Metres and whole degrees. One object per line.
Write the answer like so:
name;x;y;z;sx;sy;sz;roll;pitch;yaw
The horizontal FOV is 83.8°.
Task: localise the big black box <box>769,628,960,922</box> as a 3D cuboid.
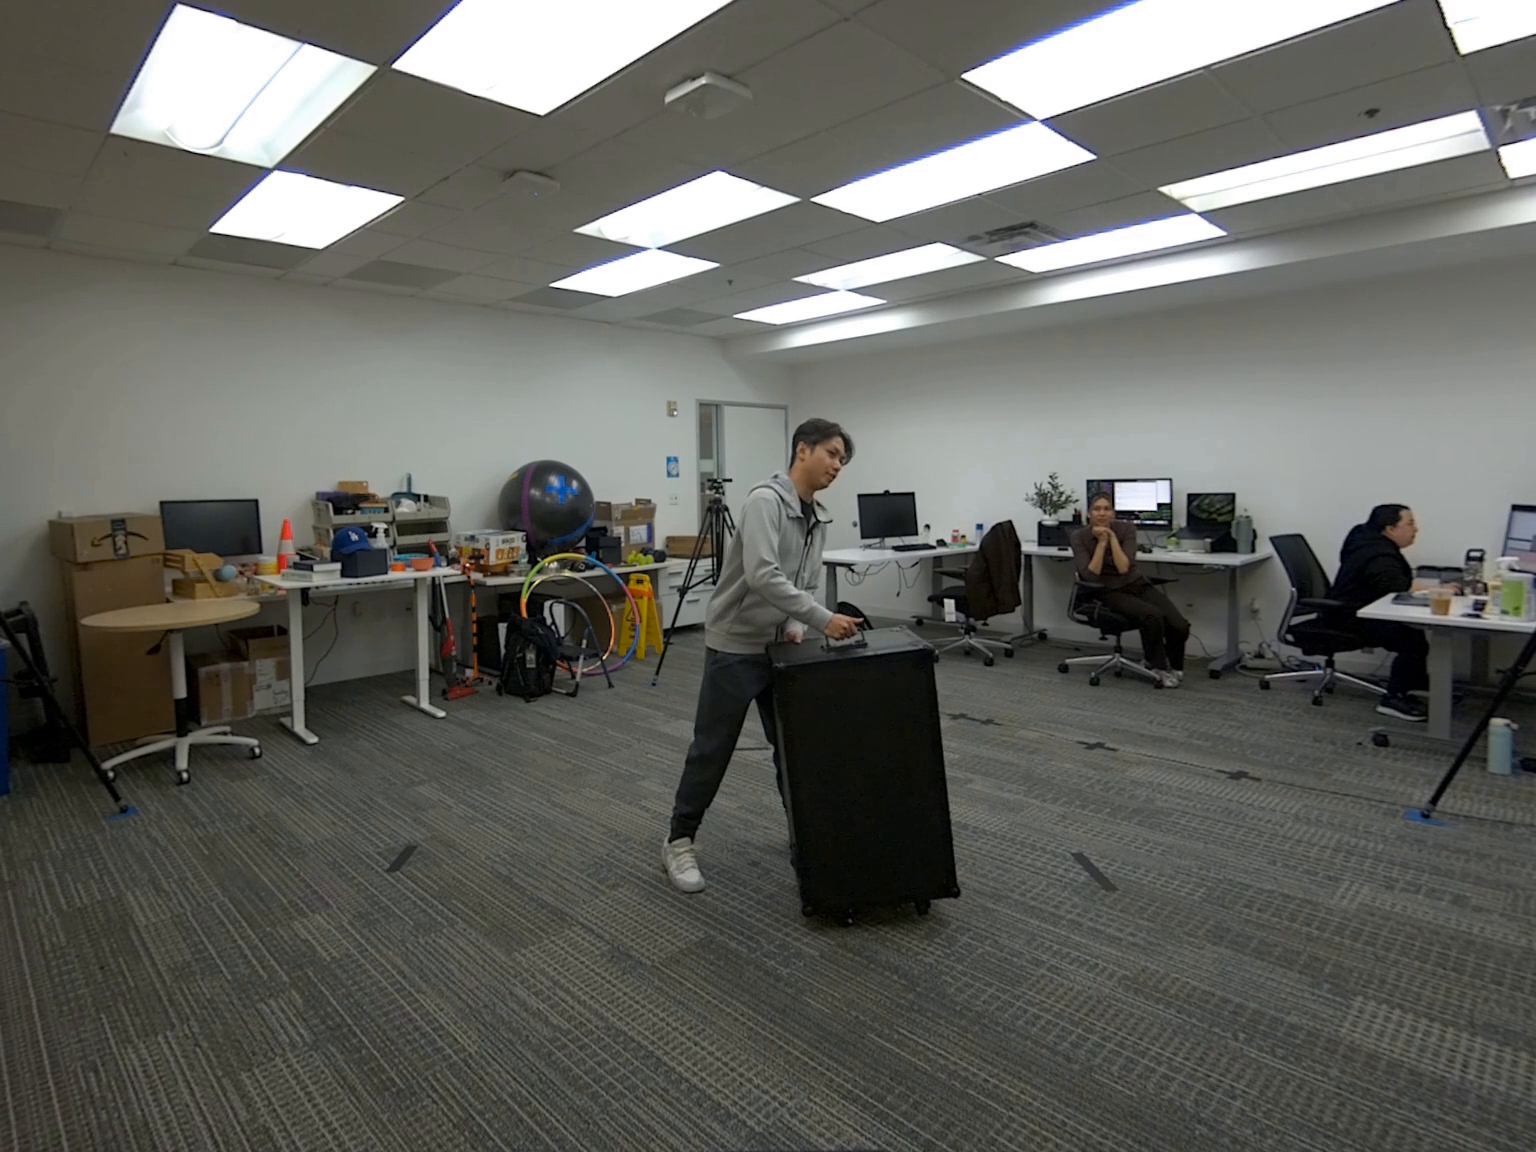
big black box;0.293;0.644;2.766;0.521;0.858;0.398;-8;4;-2
